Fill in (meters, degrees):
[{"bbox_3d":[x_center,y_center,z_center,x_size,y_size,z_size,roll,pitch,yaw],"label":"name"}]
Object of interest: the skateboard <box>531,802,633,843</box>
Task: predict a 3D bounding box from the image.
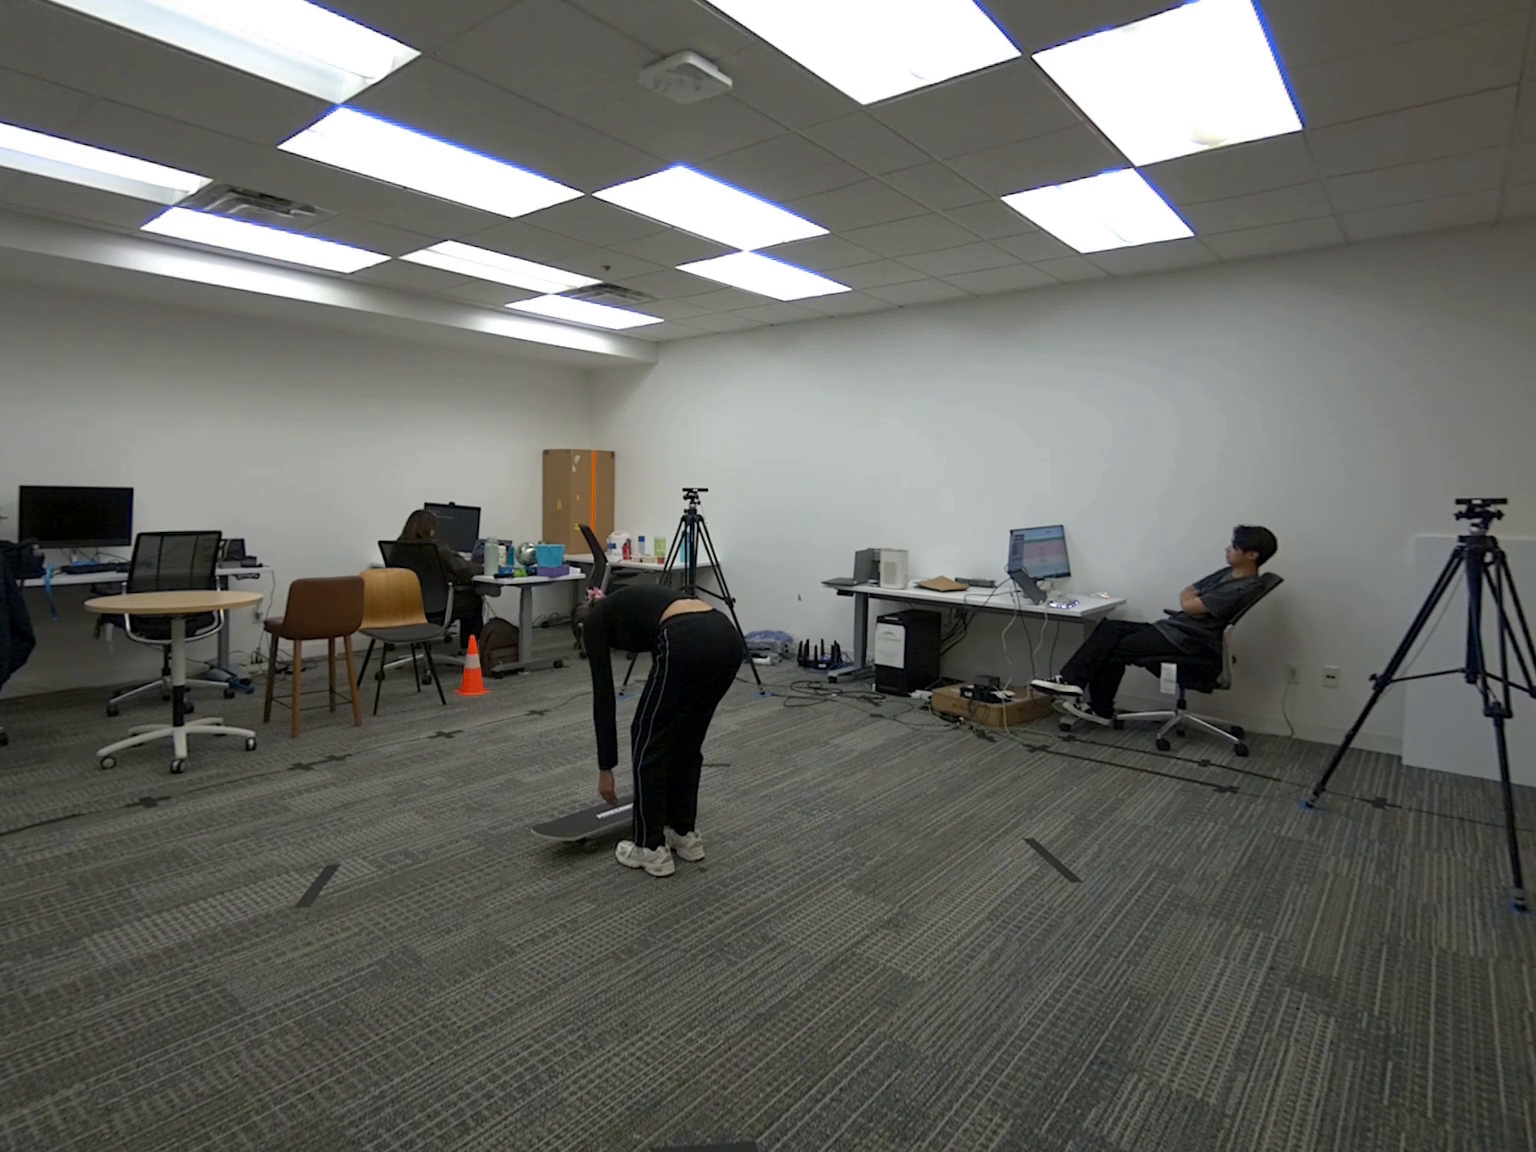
[{"bbox_3d":[-0.621,0.980,3.442,0.200,0.110,0.762,4,6,42],"label":"skateboard"}]
